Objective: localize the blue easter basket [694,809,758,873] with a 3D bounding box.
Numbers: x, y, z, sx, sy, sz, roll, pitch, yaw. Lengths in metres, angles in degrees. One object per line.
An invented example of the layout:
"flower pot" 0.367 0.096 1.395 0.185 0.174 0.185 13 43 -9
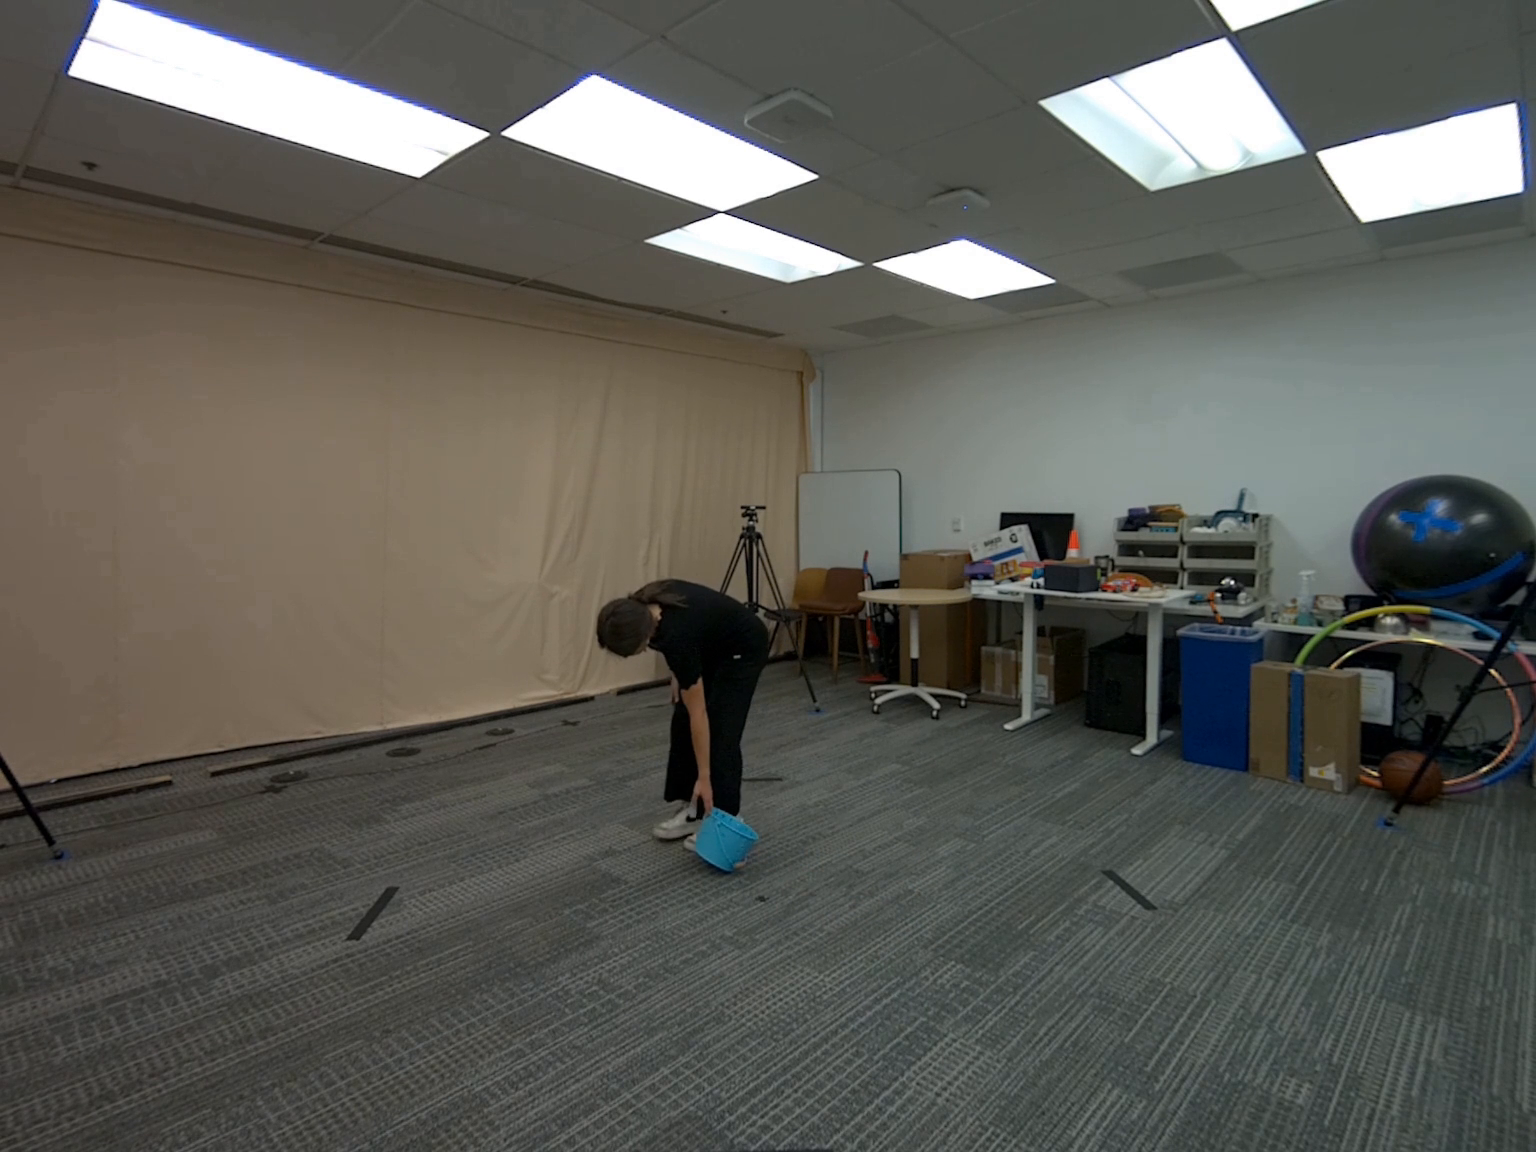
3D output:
"blue easter basket" -0.162 1.010 3.229 0.244 0.156 0.243 27 -4 0
